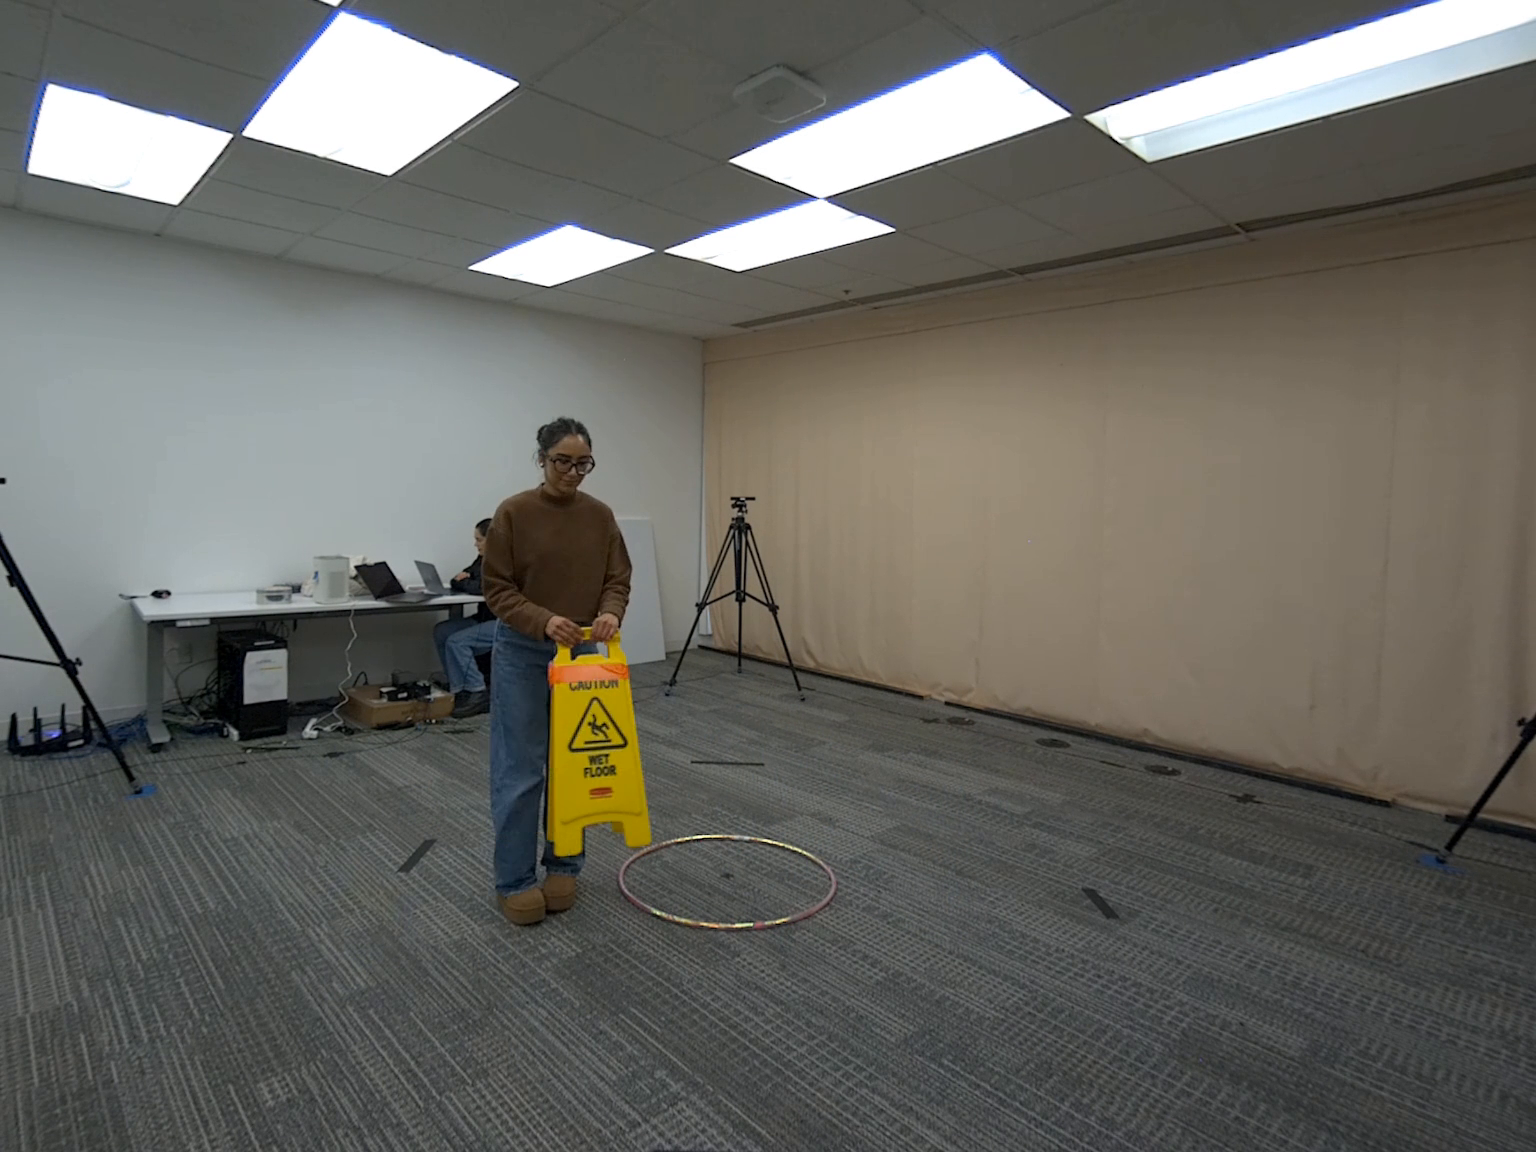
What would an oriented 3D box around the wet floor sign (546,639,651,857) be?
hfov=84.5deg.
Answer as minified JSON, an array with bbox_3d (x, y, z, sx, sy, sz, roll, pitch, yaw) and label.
[{"bbox_3d":[-0.553,0.487,2.597,0.278,0.650,0.291,-2,-8,-18],"label":"wet floor sign"}]
